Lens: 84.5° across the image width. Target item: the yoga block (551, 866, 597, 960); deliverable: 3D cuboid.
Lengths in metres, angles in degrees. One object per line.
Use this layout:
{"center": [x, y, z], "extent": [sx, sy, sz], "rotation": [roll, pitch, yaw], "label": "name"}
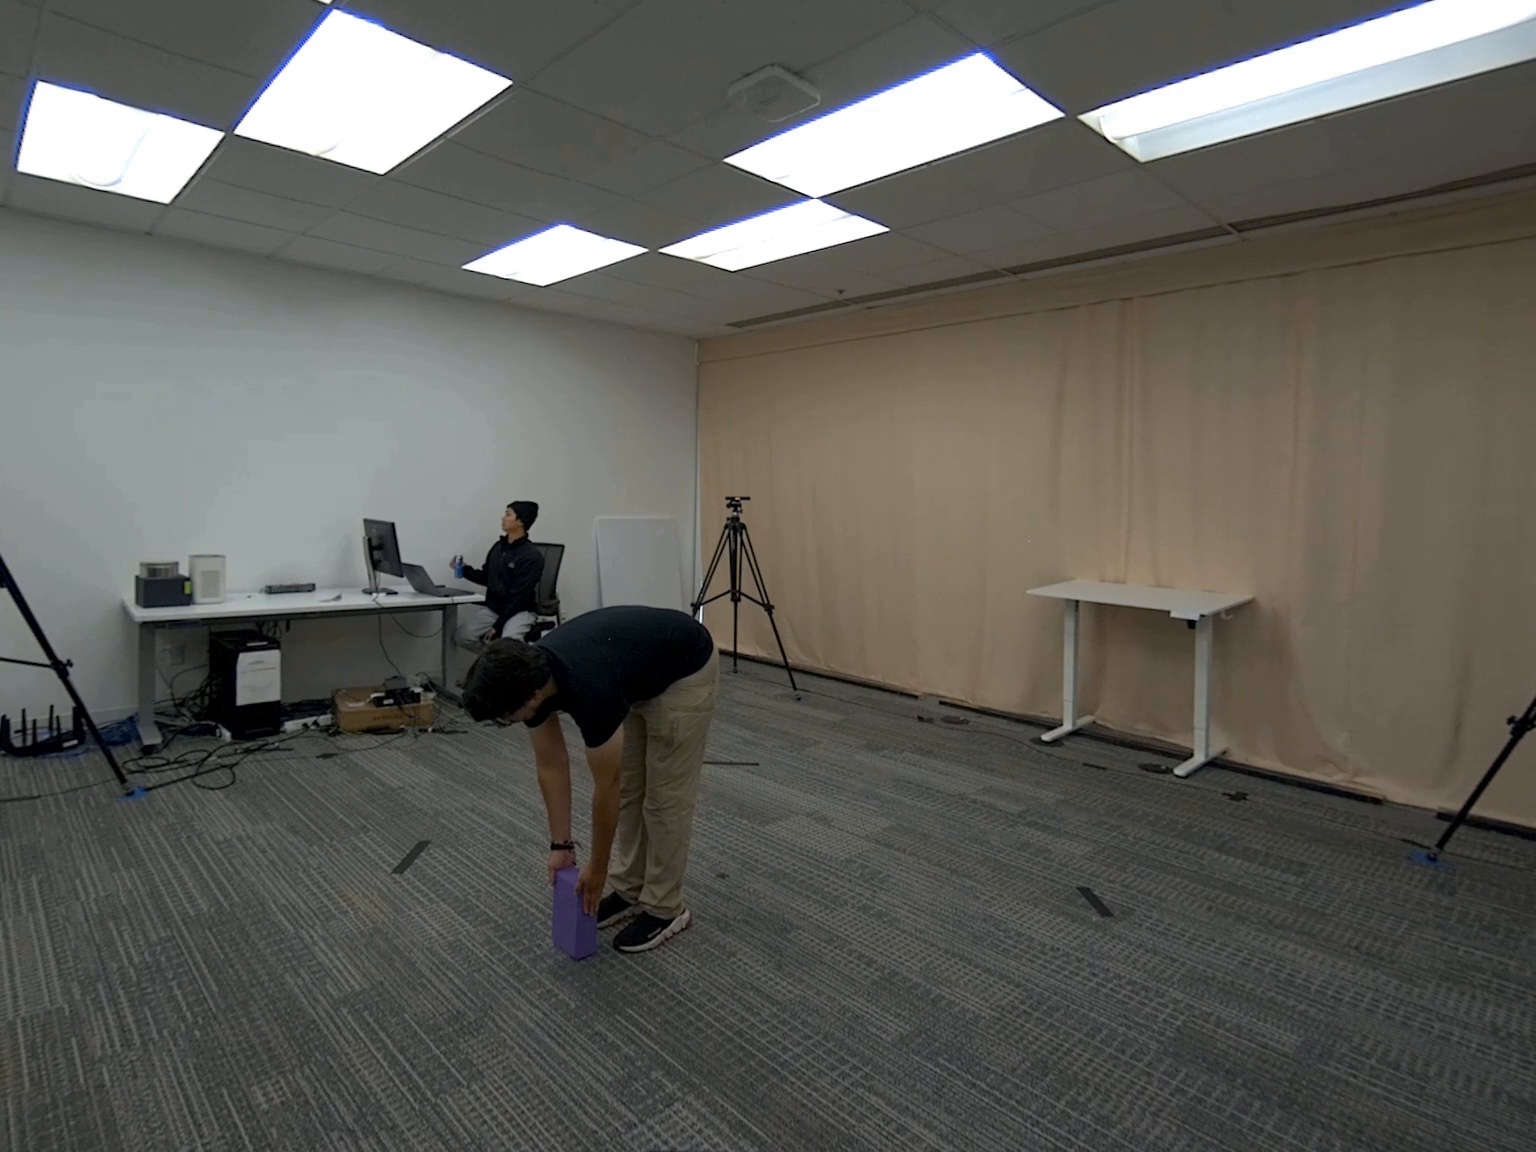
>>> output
{"center": [-0.597, 1.033, 2.575], "extent": [0.075, 0.229, 0.153], "rotation": [-2, 5, -41], "label": "yoga block"}
